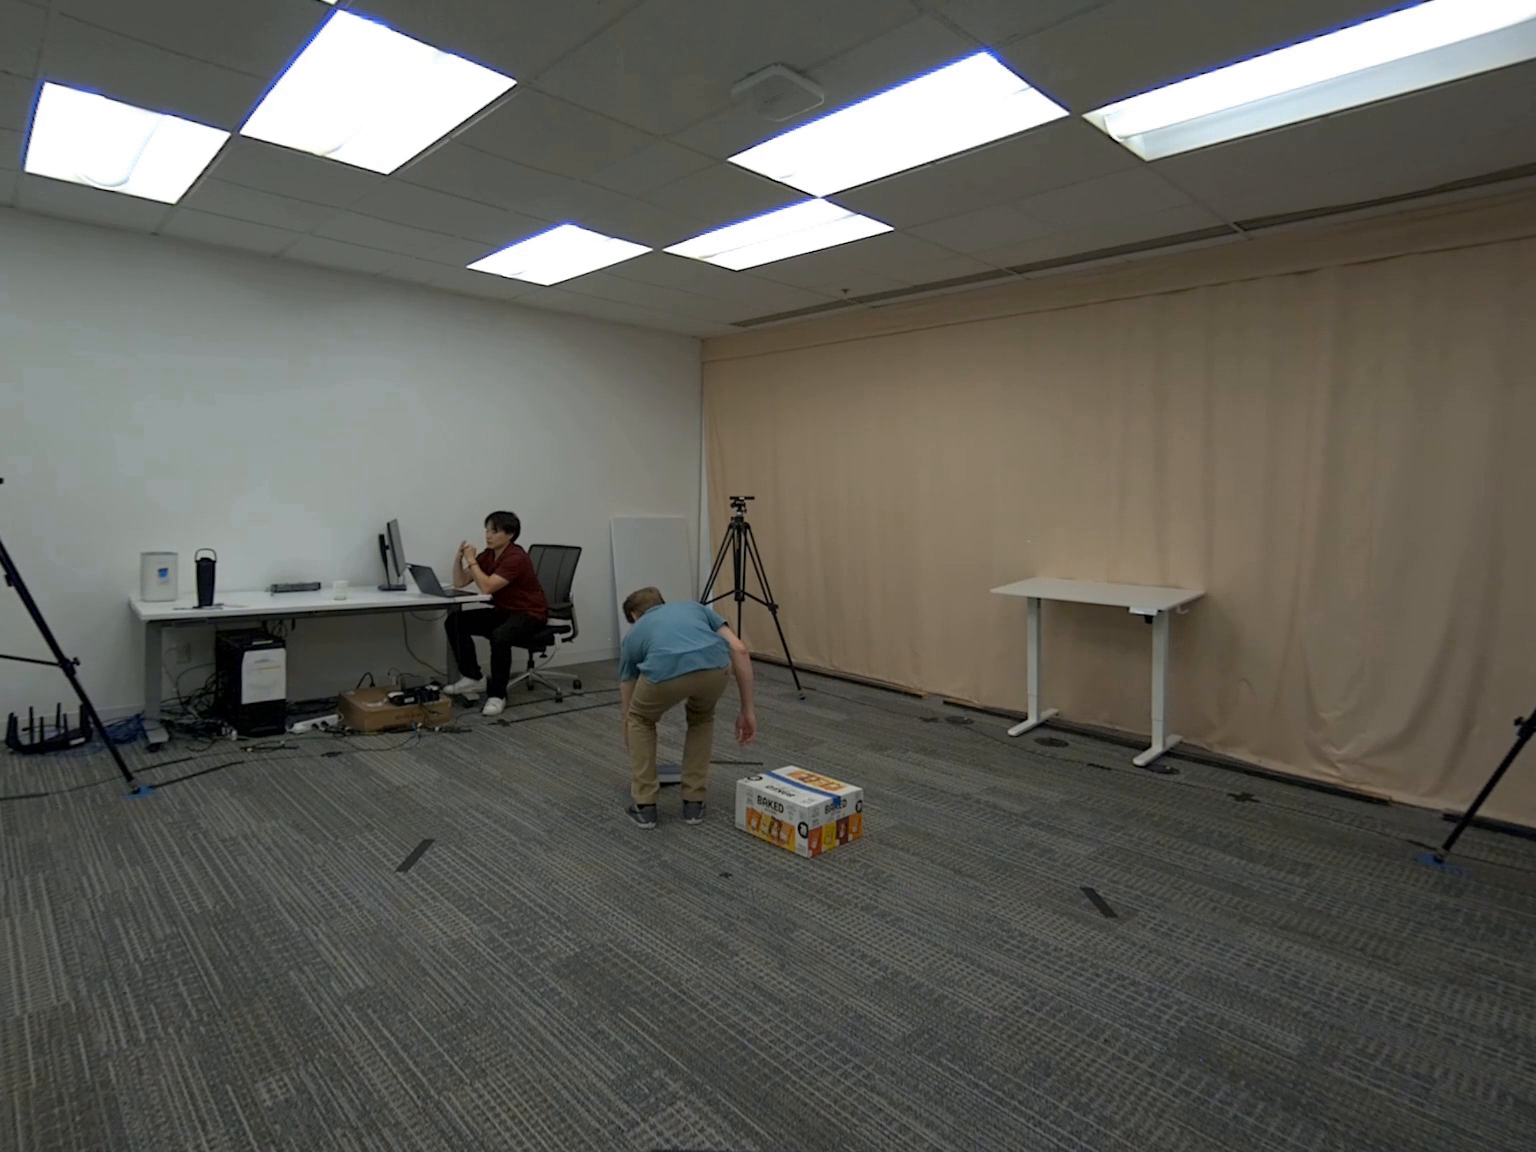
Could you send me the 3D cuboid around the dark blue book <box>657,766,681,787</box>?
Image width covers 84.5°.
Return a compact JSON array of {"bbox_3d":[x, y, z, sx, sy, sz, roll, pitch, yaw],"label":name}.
[{"bbox_3d":[-0.515,0.972,4.125,0.238,0.045,0.167,10,-1,-41],"label":"dark blue book"}]
